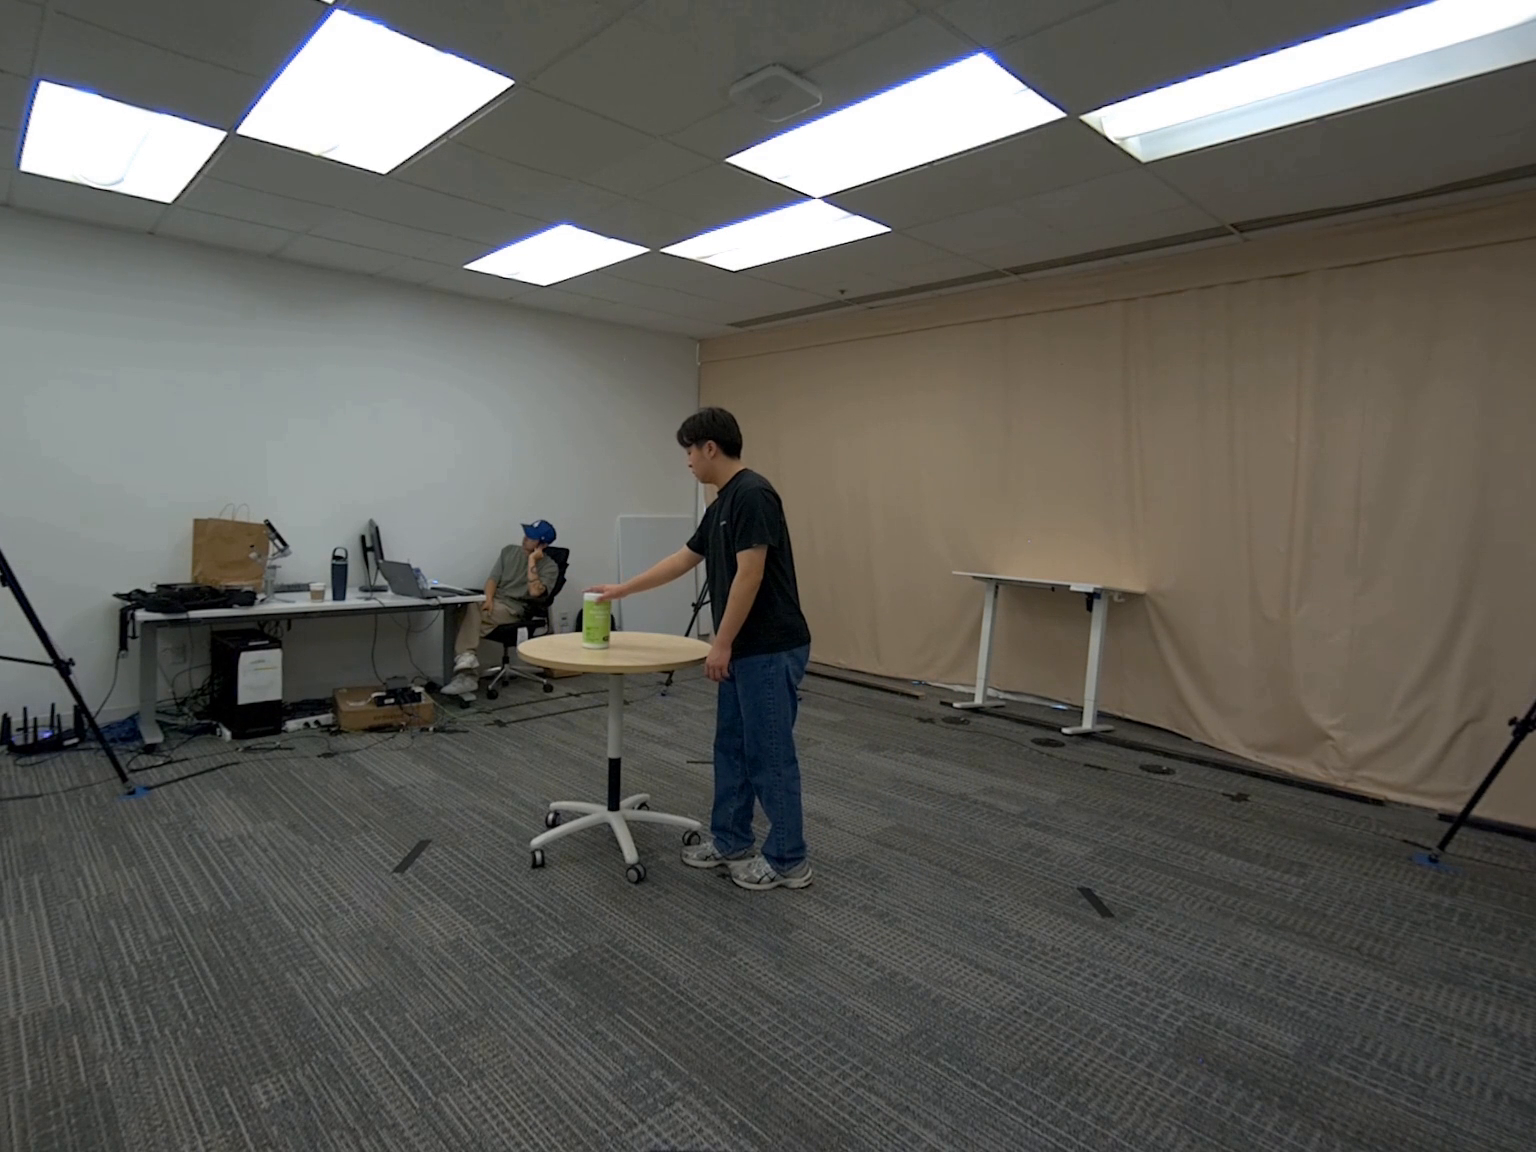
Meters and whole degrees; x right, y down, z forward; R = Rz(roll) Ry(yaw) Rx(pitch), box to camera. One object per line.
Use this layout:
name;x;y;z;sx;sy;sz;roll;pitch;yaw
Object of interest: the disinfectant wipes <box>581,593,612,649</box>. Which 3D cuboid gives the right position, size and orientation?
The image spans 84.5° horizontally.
disinfectant wipes;-0.675;0.175;3.302;0.118;0.216;0.118;3;6;-2
